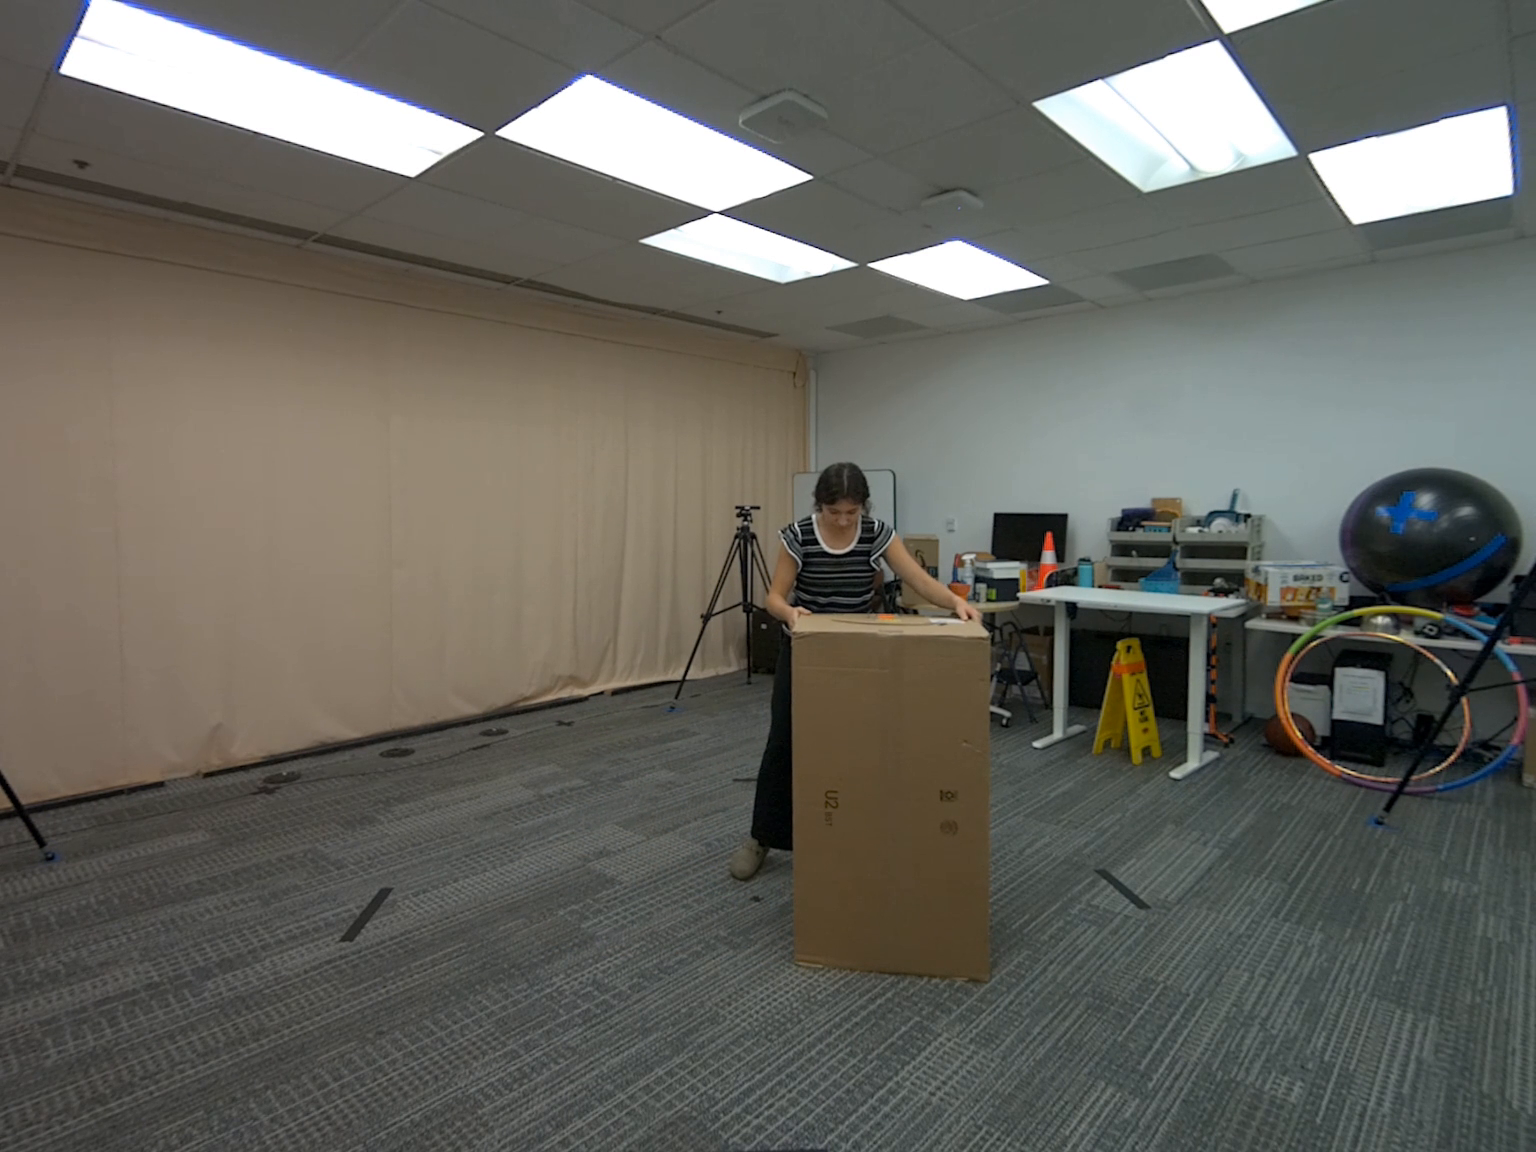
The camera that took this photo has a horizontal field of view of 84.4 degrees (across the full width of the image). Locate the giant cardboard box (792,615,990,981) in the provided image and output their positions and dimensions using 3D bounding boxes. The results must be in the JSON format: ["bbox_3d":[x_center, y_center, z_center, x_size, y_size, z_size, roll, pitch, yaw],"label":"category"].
[{"bbox_3d":[0.394,0.664,2.683,0.583,1.023,0.423,0,4,9],"label":"giant cardboard box"}]
